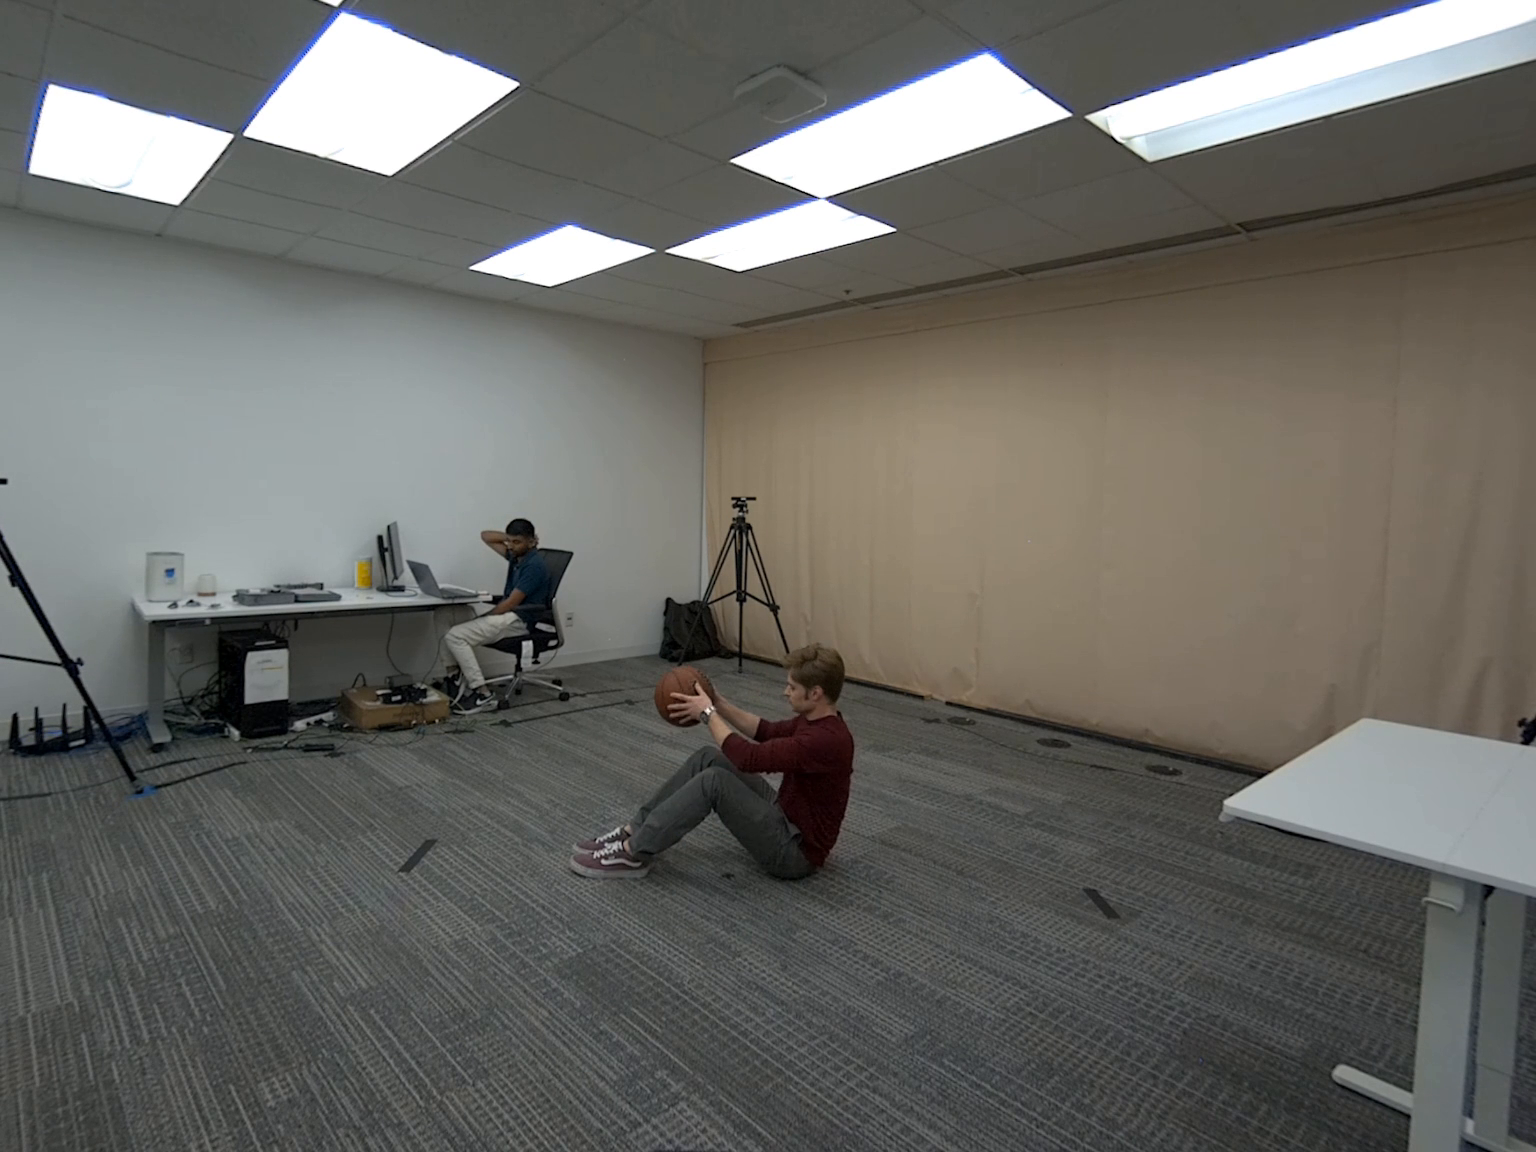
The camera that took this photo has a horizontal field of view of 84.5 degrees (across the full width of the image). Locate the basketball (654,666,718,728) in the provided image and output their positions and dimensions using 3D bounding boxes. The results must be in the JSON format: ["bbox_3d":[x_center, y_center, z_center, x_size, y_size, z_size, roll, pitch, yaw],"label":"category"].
[{"bbox_3d":[-0.332,0.492,3.319,0.236,0.235,0.237,1,4,-1],"label":"basketball"}]
